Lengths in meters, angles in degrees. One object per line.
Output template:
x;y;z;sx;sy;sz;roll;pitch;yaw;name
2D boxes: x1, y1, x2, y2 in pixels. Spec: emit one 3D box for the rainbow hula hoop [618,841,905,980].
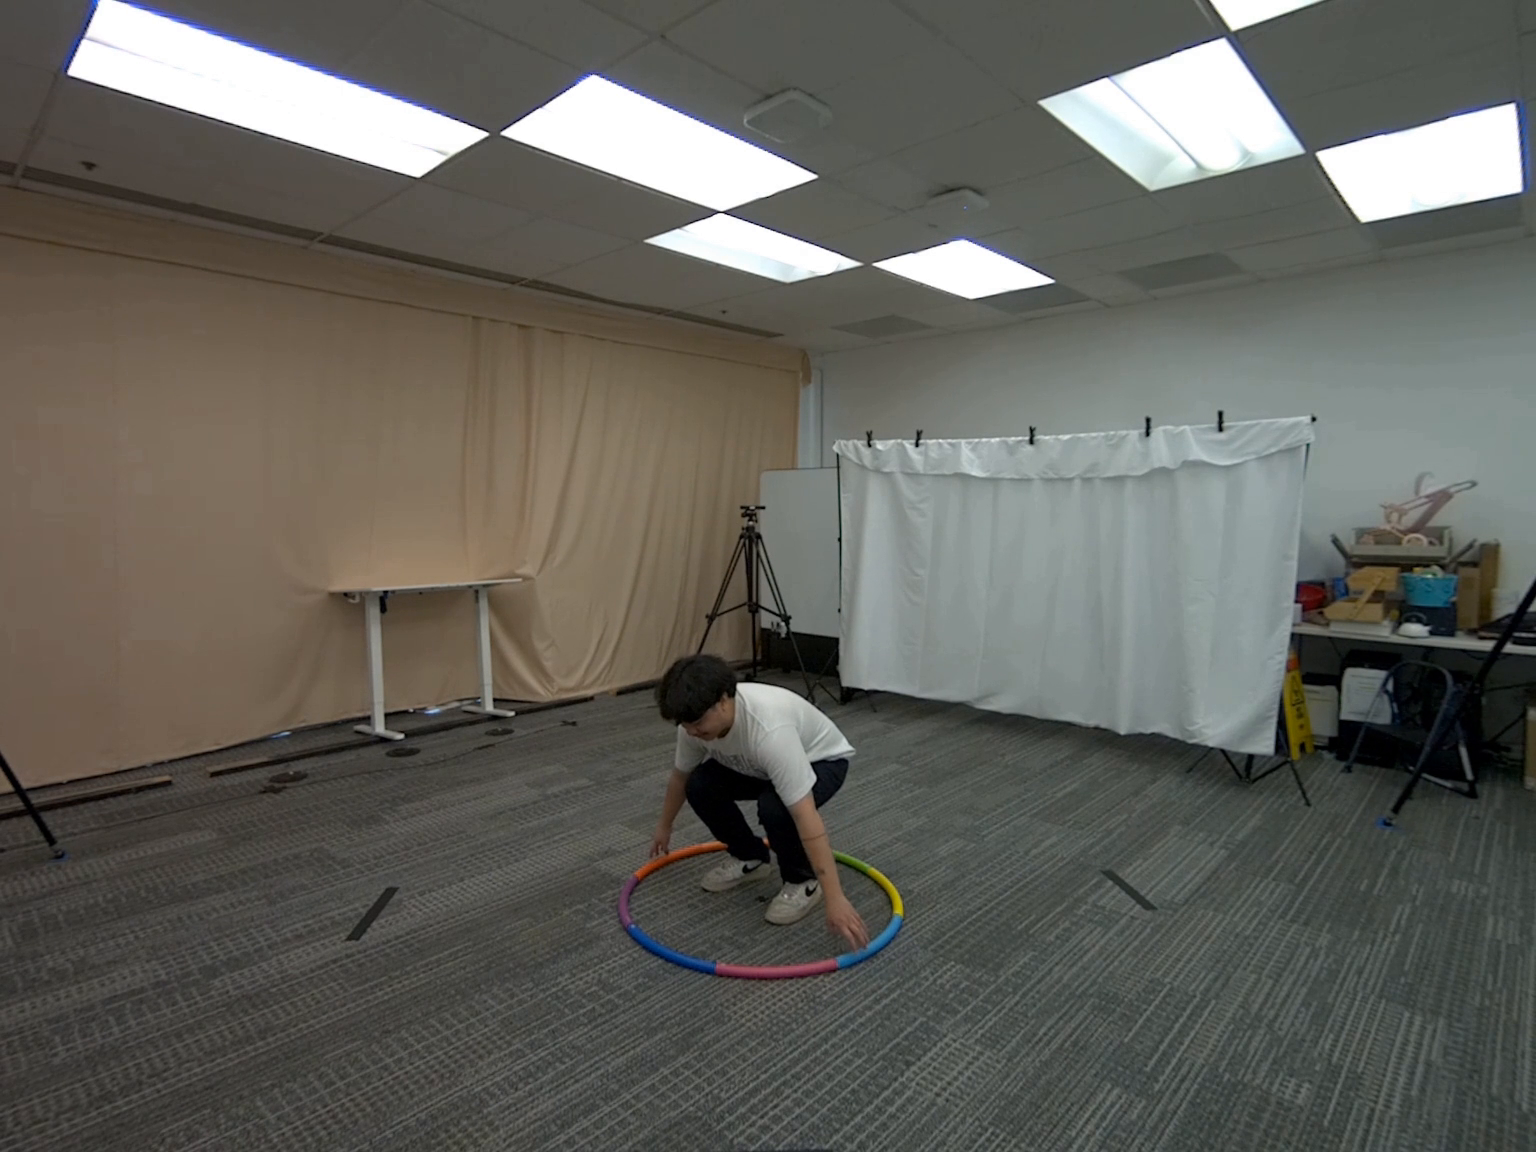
-0.026;1.119;2.954;0.985;0.051;0.989;0;4;-2;rainbow hula hoop
